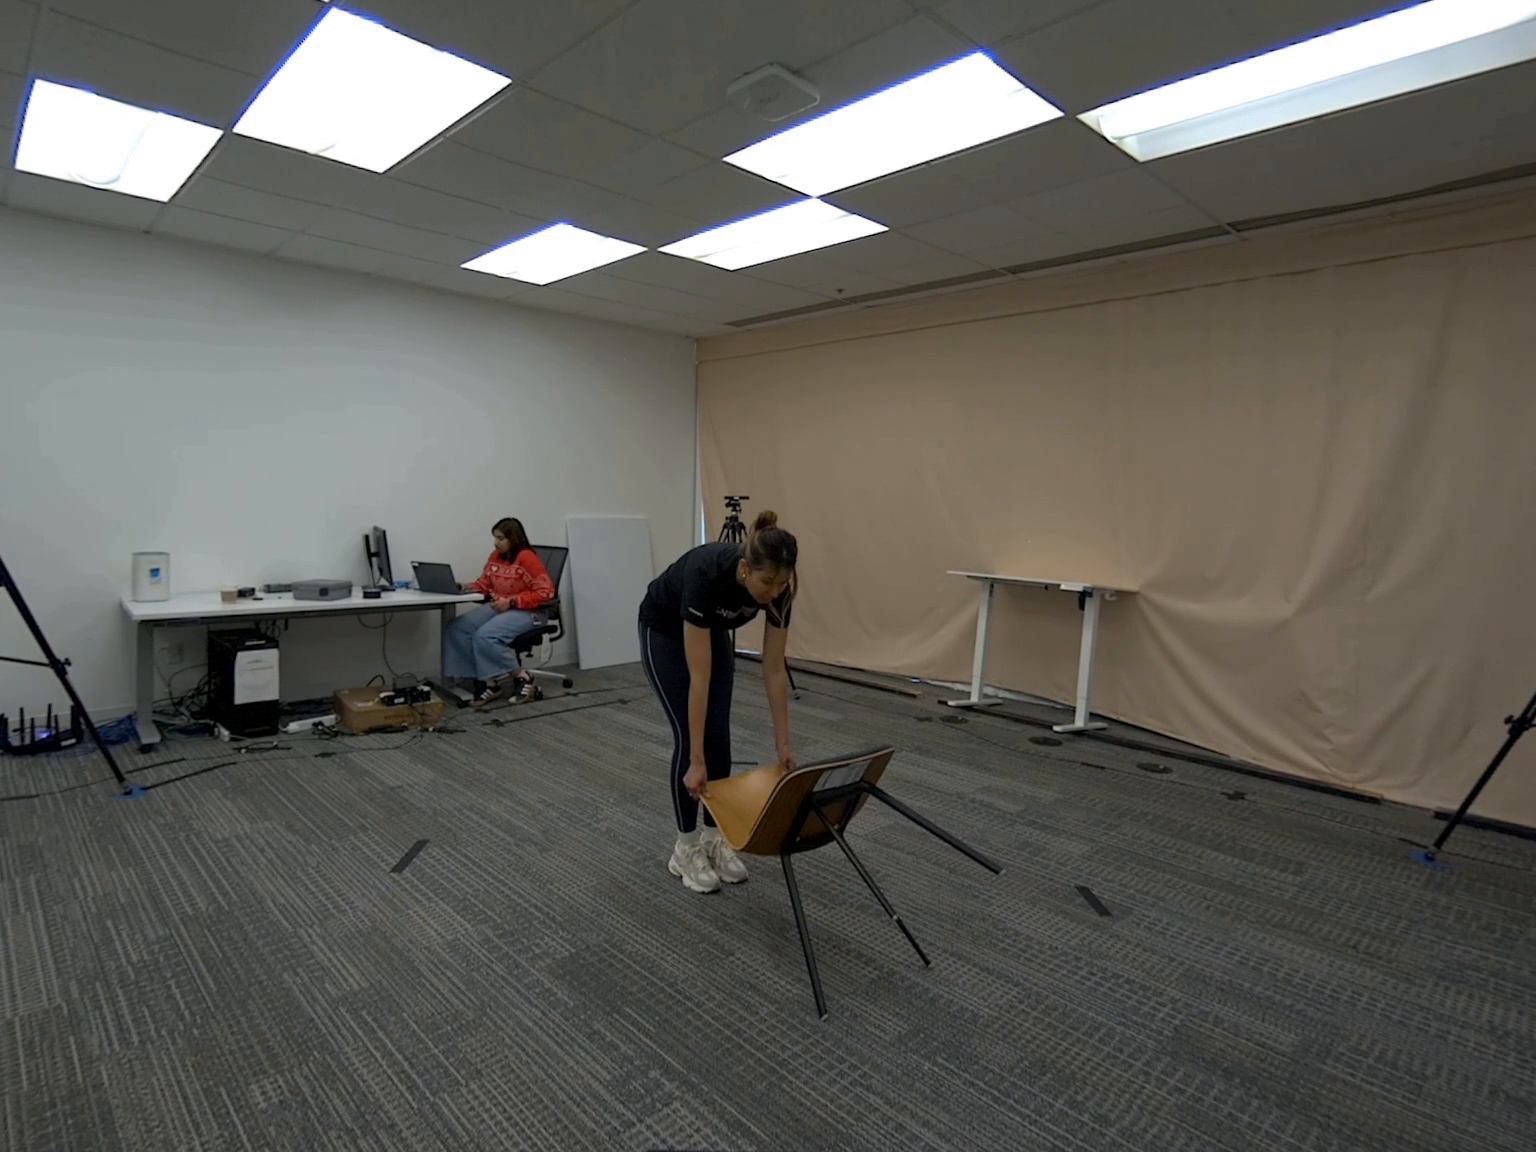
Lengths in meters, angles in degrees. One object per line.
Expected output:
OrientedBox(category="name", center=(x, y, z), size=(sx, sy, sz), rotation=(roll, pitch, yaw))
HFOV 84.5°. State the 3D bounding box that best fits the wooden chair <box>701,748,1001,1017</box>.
OrientedBox(category="wooden chair", center=(0.171, 0.736, 2.557), size=(0.467, 0.518, 0.906), rotation=(-3, 34, -38))
